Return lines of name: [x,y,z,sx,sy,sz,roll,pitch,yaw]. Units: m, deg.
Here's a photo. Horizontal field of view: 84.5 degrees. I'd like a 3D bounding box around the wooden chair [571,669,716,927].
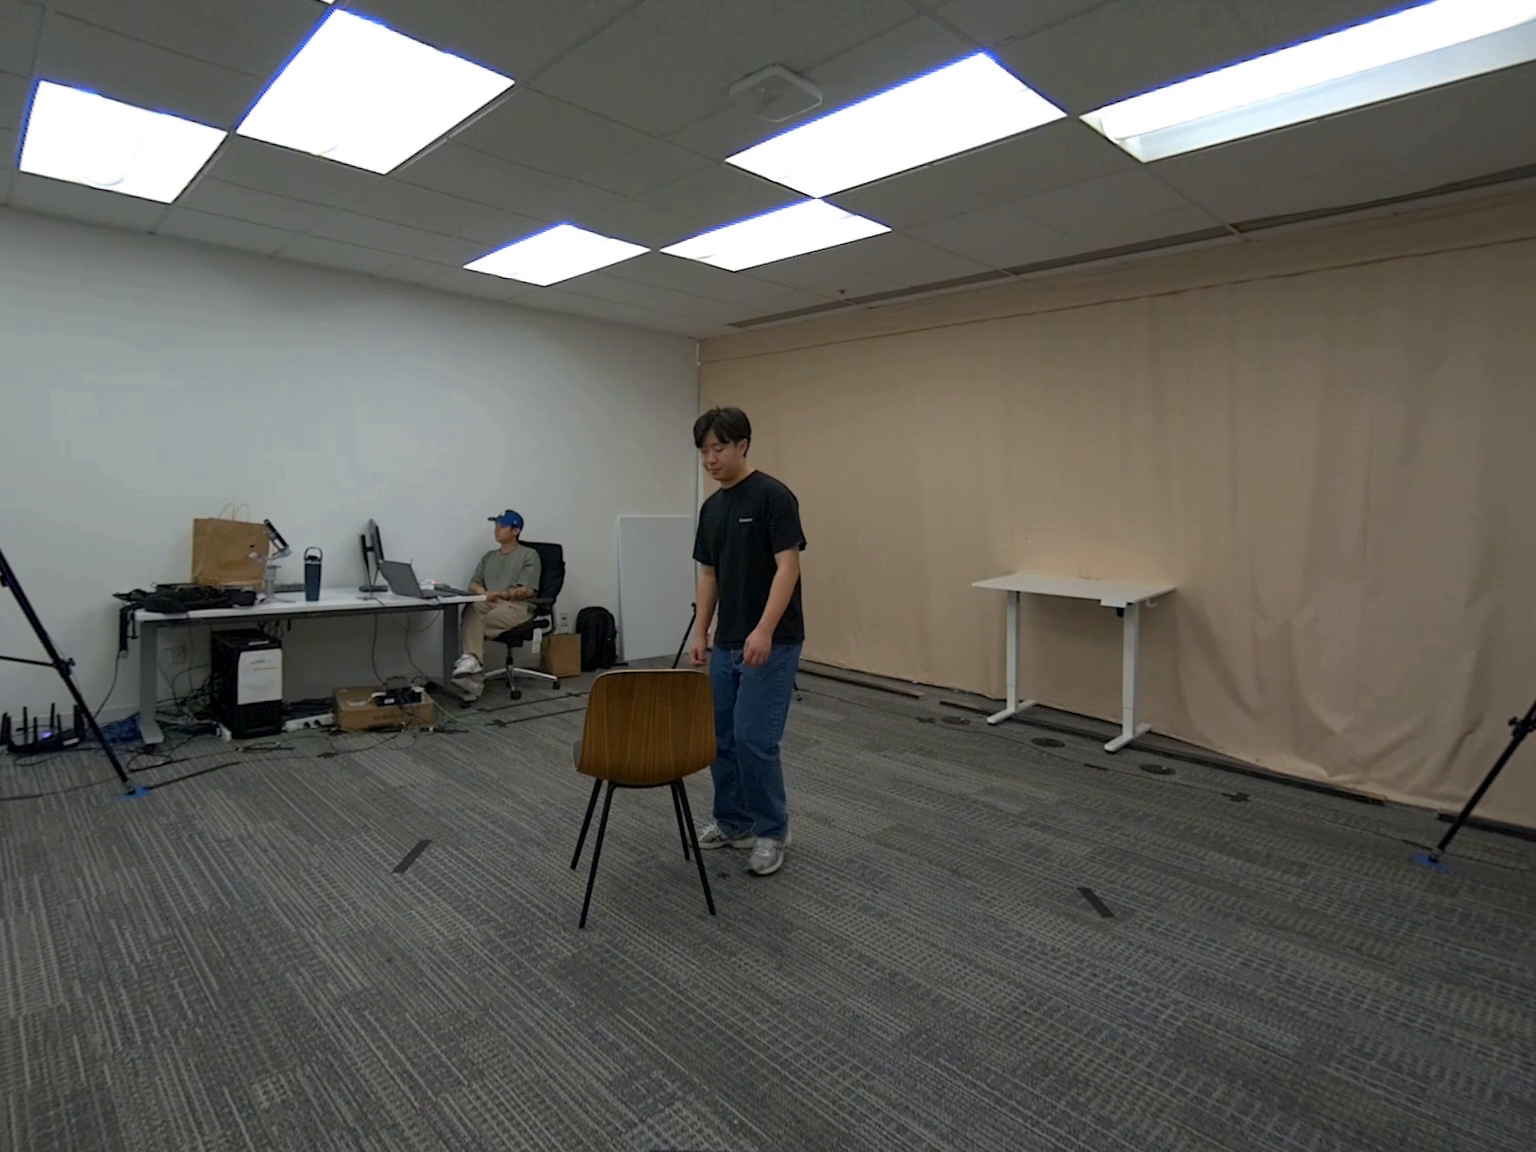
wooden chair: [-0.446,0.687,2.941,0.472,0.873,0.532,0,8,-15]
